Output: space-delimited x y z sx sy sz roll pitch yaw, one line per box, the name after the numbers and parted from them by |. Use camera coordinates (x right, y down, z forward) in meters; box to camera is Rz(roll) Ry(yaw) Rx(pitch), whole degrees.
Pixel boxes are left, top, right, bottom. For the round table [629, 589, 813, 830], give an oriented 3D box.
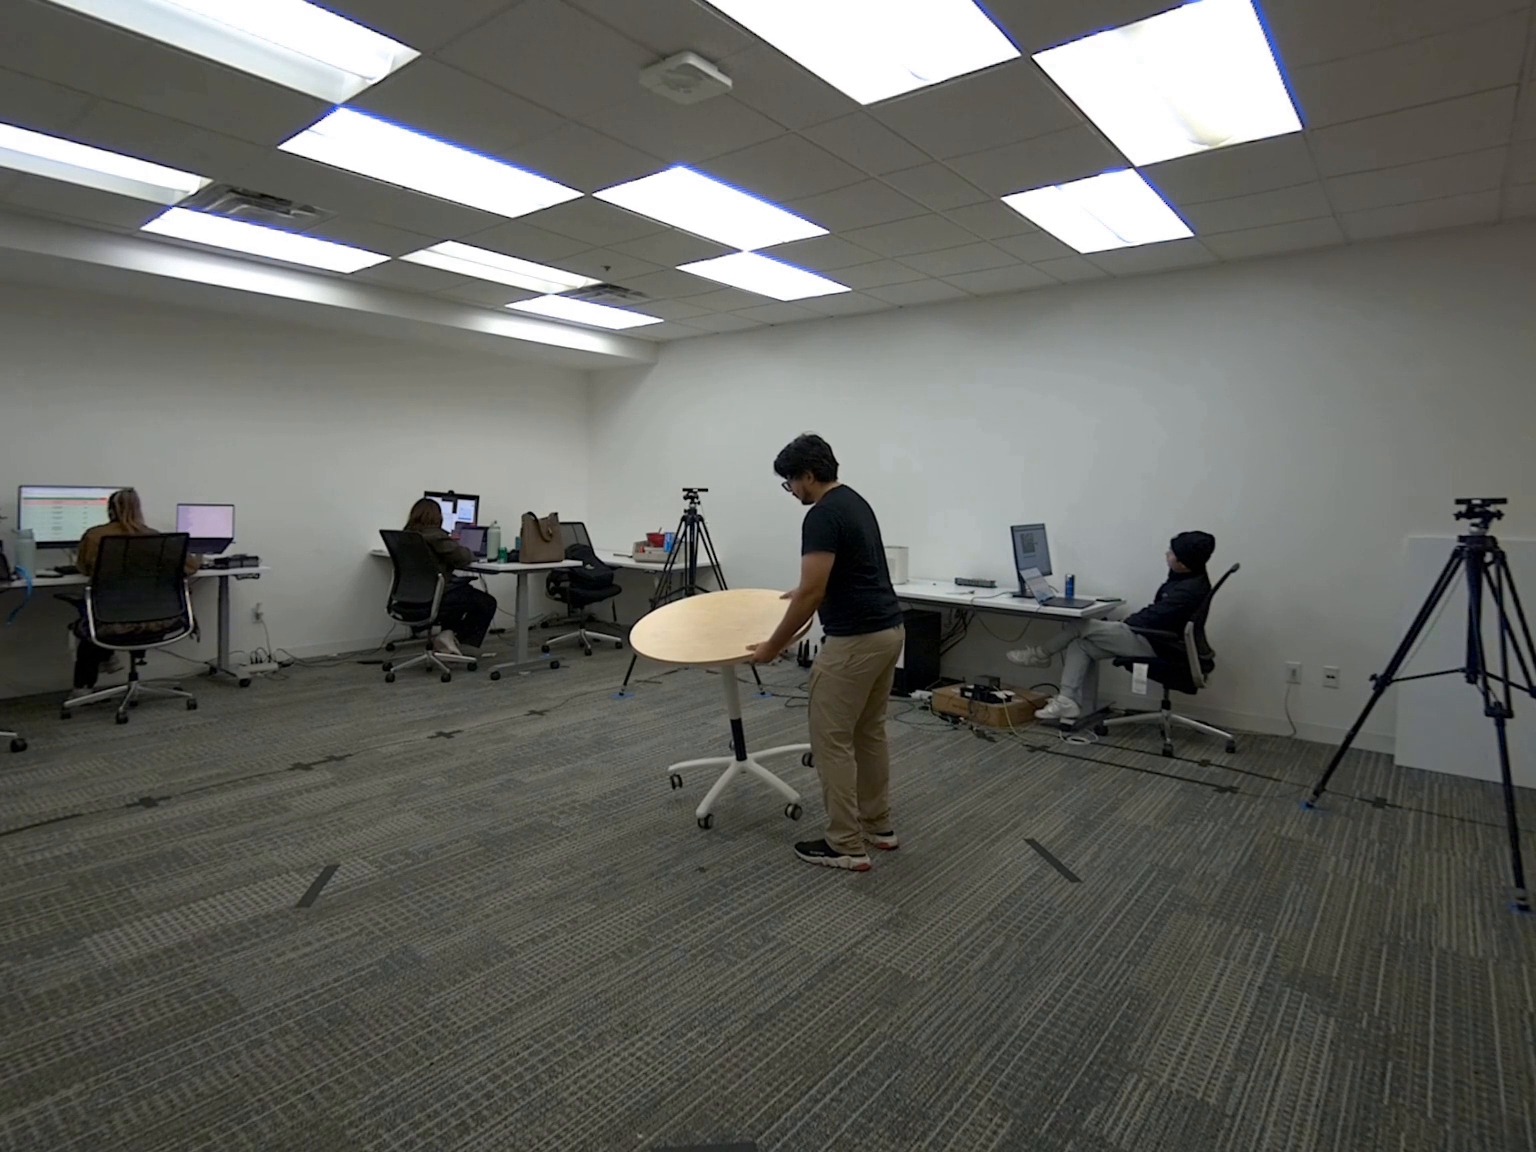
-0.156 0.550 3.661 0.786 0.773 0.798 -8 17 0 | round table
